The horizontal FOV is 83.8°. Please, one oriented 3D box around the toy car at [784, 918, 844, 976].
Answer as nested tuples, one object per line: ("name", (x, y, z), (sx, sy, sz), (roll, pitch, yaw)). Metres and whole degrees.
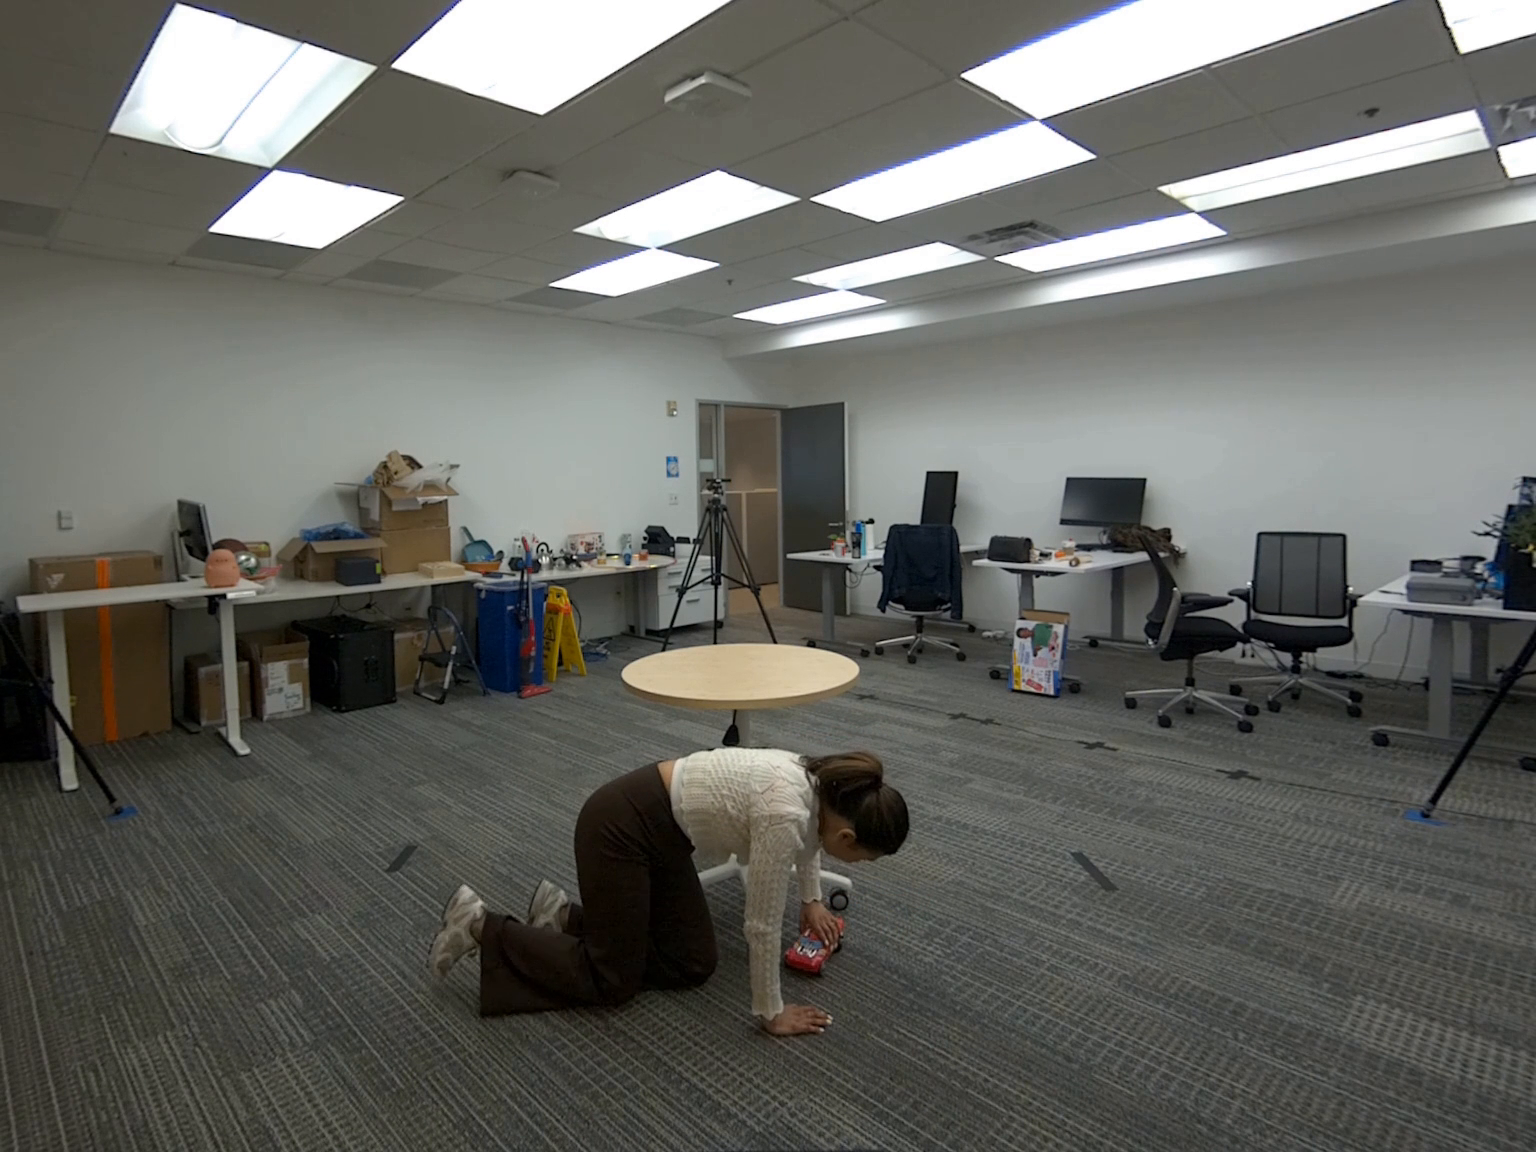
("toy car", (0.140, 1.081, 2.508), (0.133, 0.082, 0.253), (-1, 18, 21))
